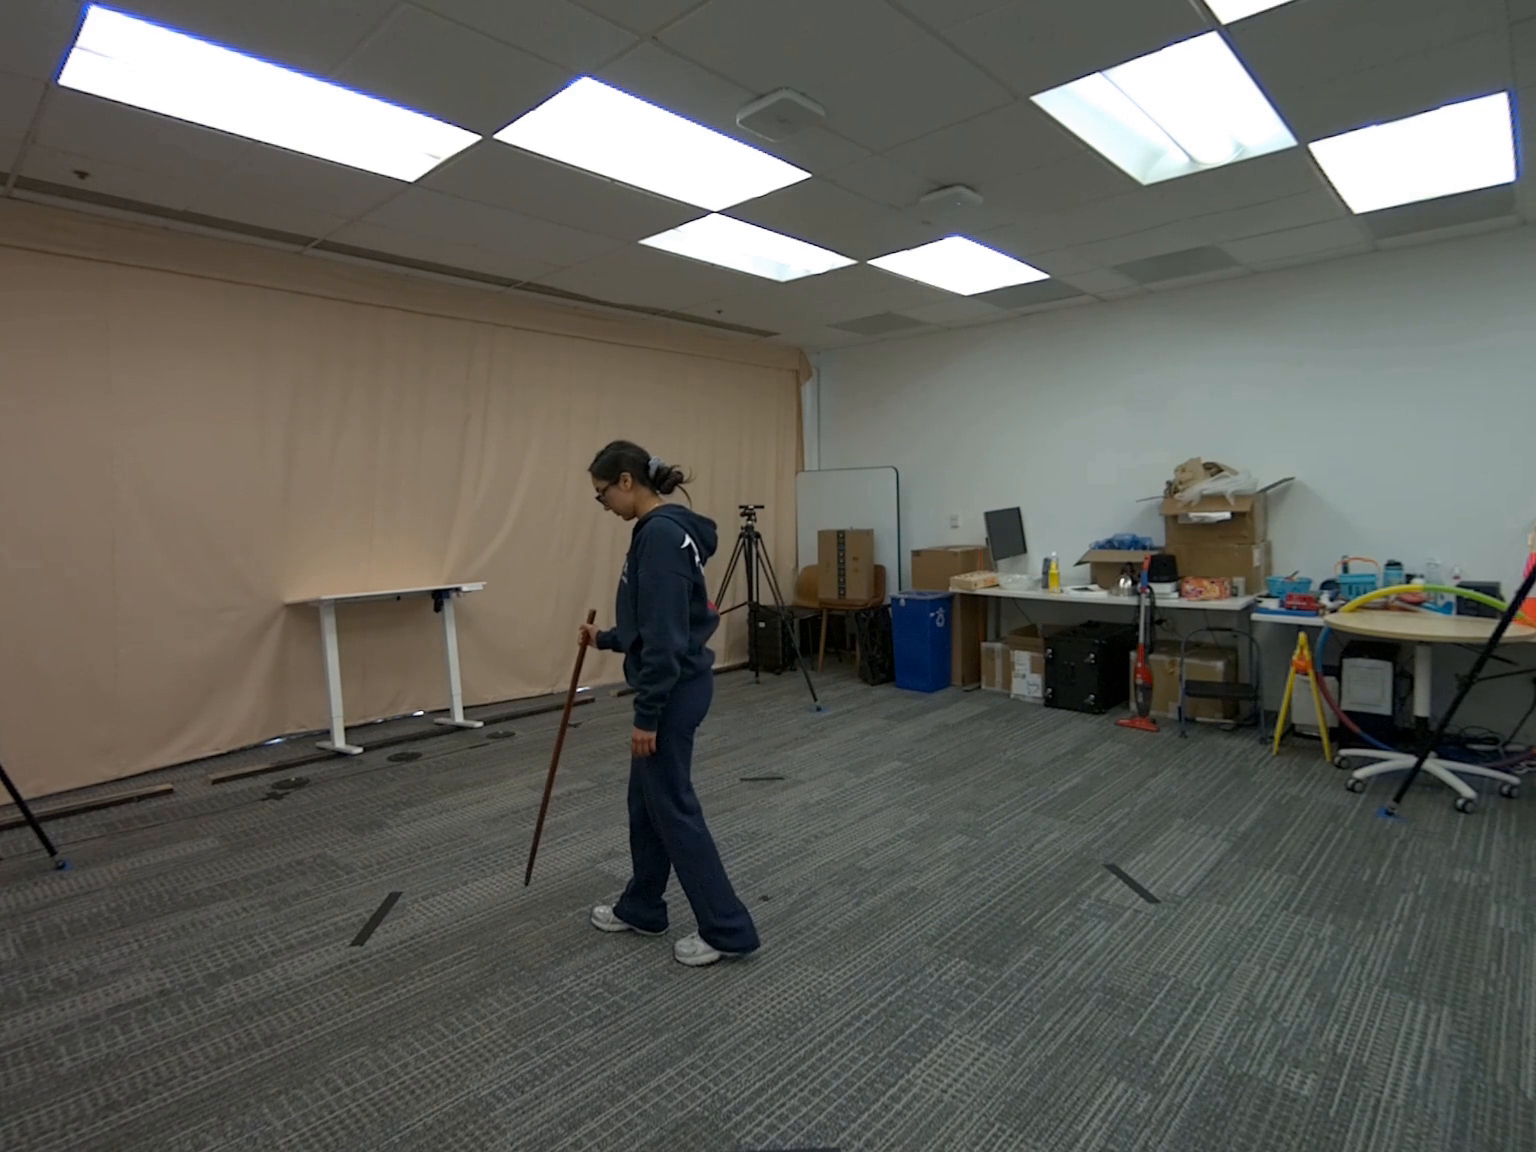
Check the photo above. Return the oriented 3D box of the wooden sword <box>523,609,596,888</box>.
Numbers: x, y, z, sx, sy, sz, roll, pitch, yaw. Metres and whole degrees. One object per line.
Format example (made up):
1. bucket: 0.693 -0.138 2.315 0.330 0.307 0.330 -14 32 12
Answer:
1. wooden sword: -0.732 0.633 2.973 0.023 1.024 0.052 12 2 -24
